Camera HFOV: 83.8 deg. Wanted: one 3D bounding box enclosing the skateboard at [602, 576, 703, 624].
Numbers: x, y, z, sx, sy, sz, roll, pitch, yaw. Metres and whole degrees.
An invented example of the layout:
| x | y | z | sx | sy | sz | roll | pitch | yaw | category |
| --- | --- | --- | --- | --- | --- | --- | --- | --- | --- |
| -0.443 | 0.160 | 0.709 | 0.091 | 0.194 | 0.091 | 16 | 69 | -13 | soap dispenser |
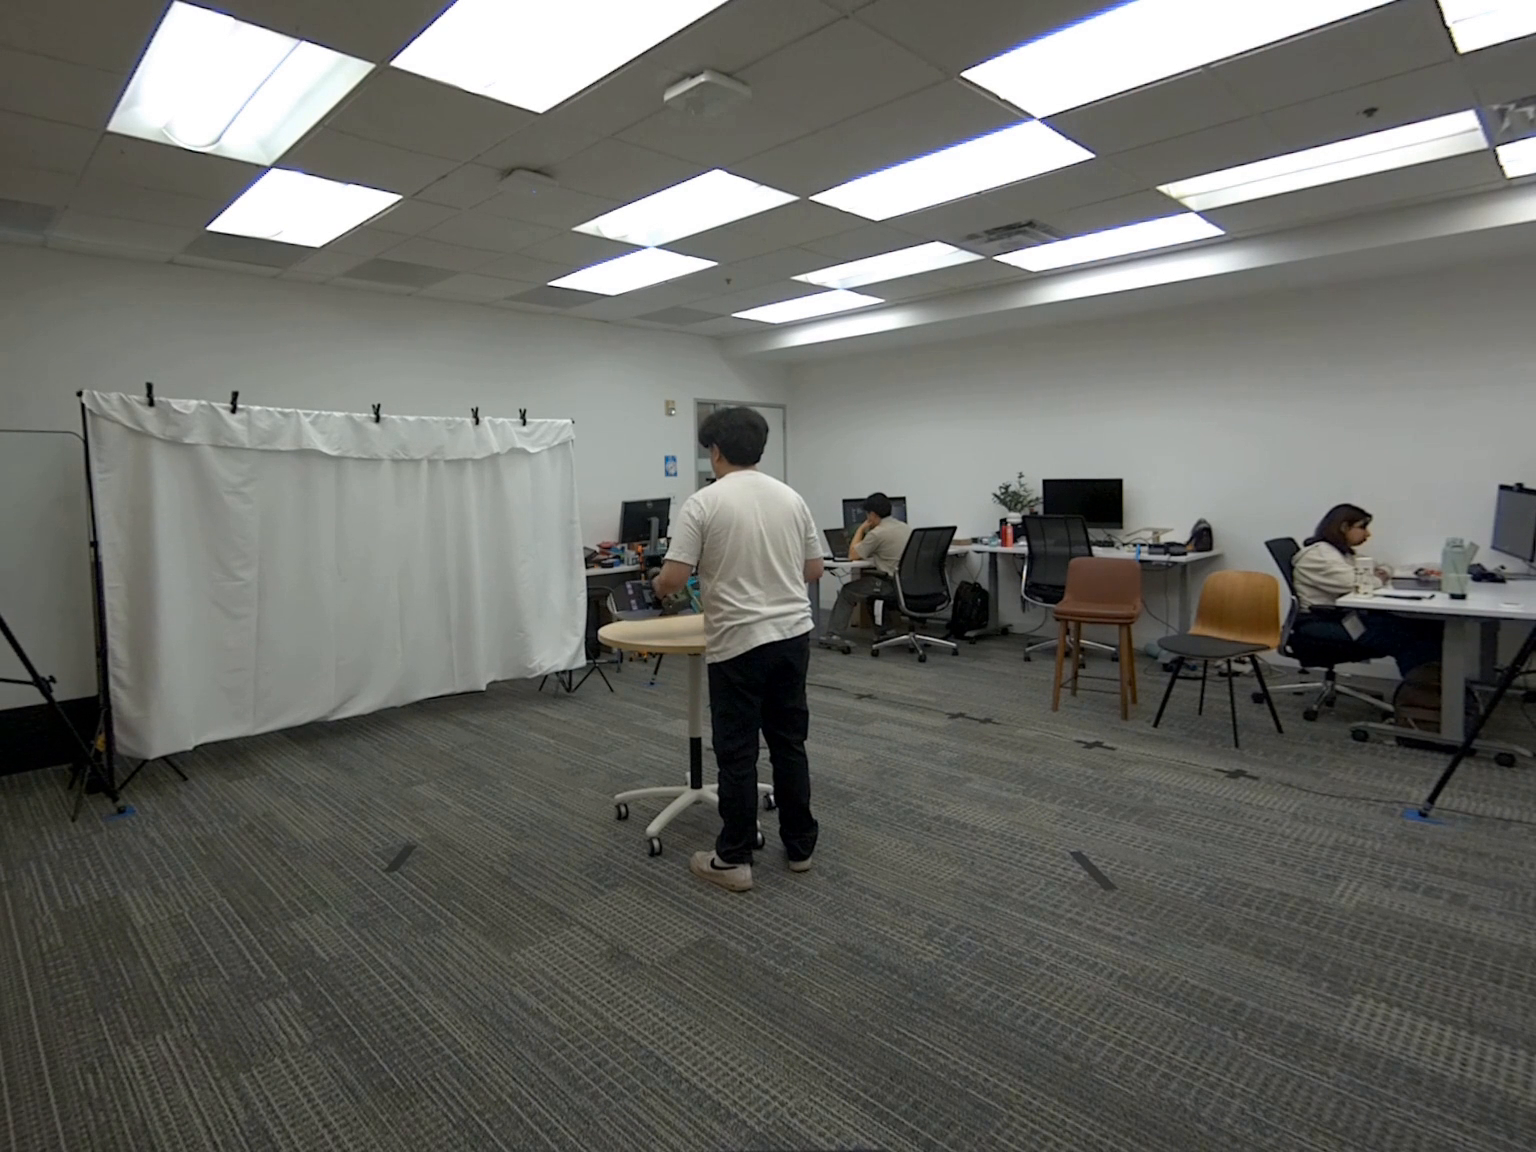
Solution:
| x | y | z | sx | sy | sz | roll | pitch | yaw | category |
| --- | --- | --- | --- | --- | --- | --- | --- | --- | --- |
| -0.240 | 0.047 | 3.336 | 0.768 | 0.109 | 0.201 | -7 | 47 | -29 | skateboard |
